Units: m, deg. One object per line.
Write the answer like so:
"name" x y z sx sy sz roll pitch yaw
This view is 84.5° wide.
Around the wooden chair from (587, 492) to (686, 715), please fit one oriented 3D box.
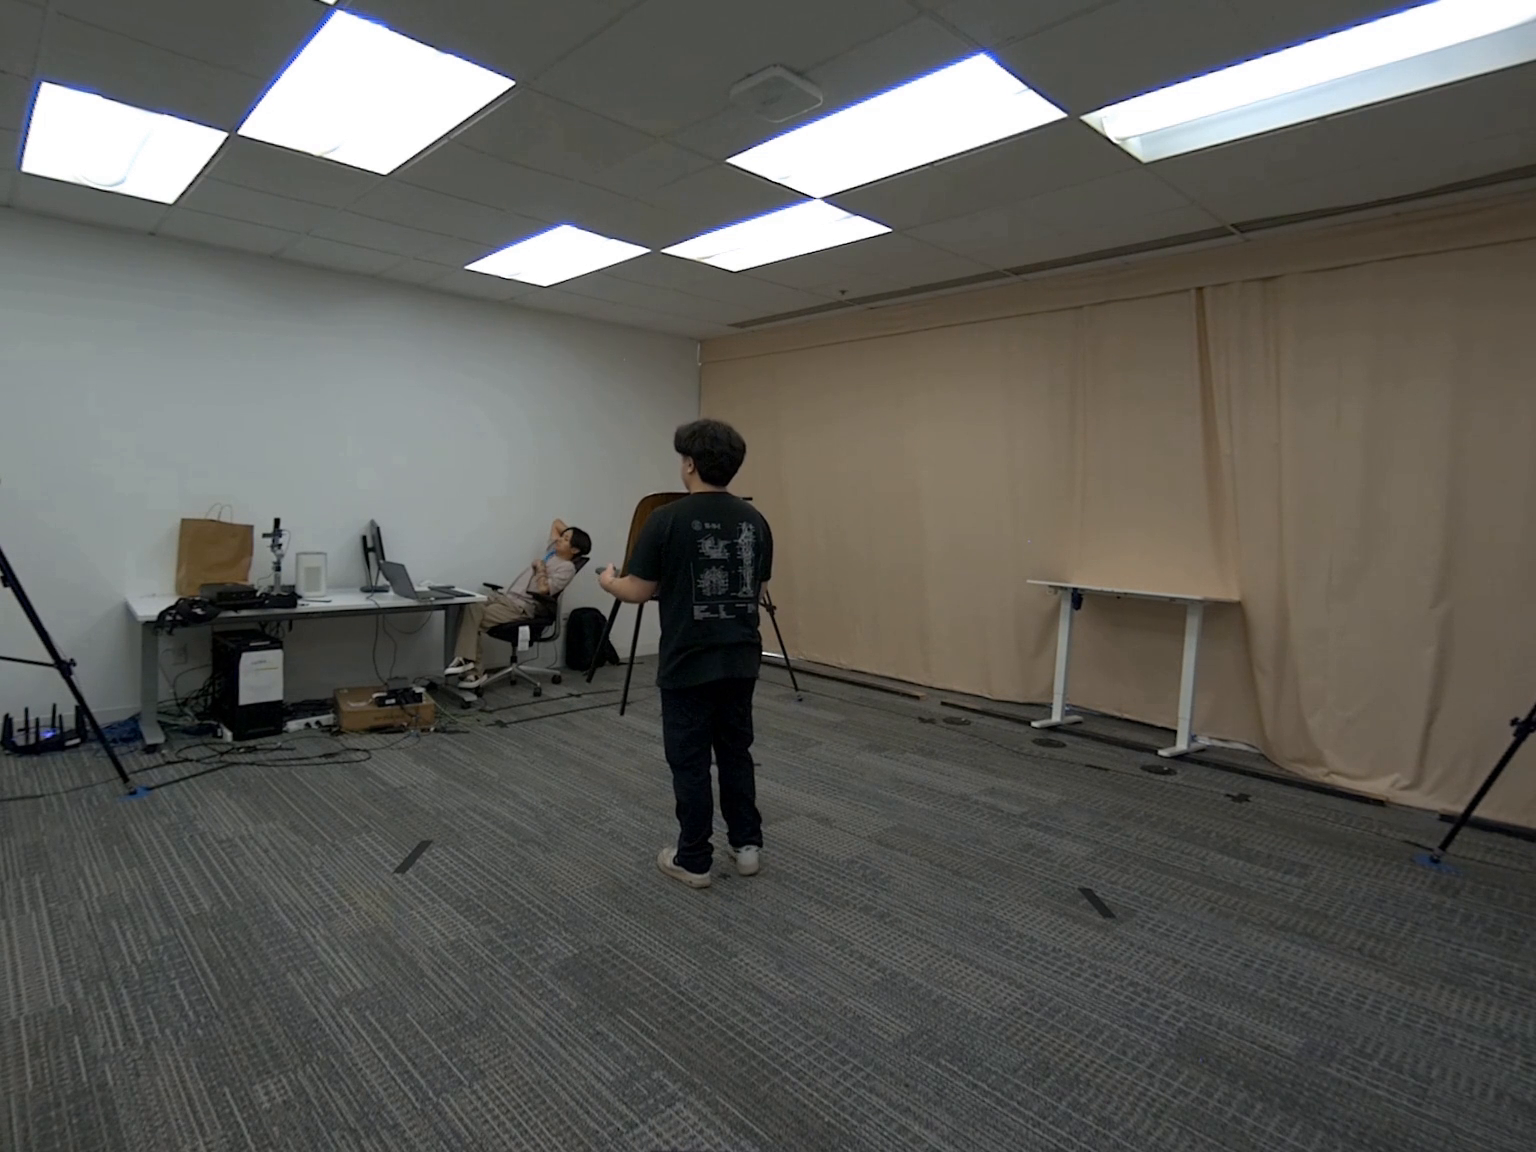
"wooden chair" -0.421 0.073 3.371 0.469 0.871 0.536 -1 12 -27
